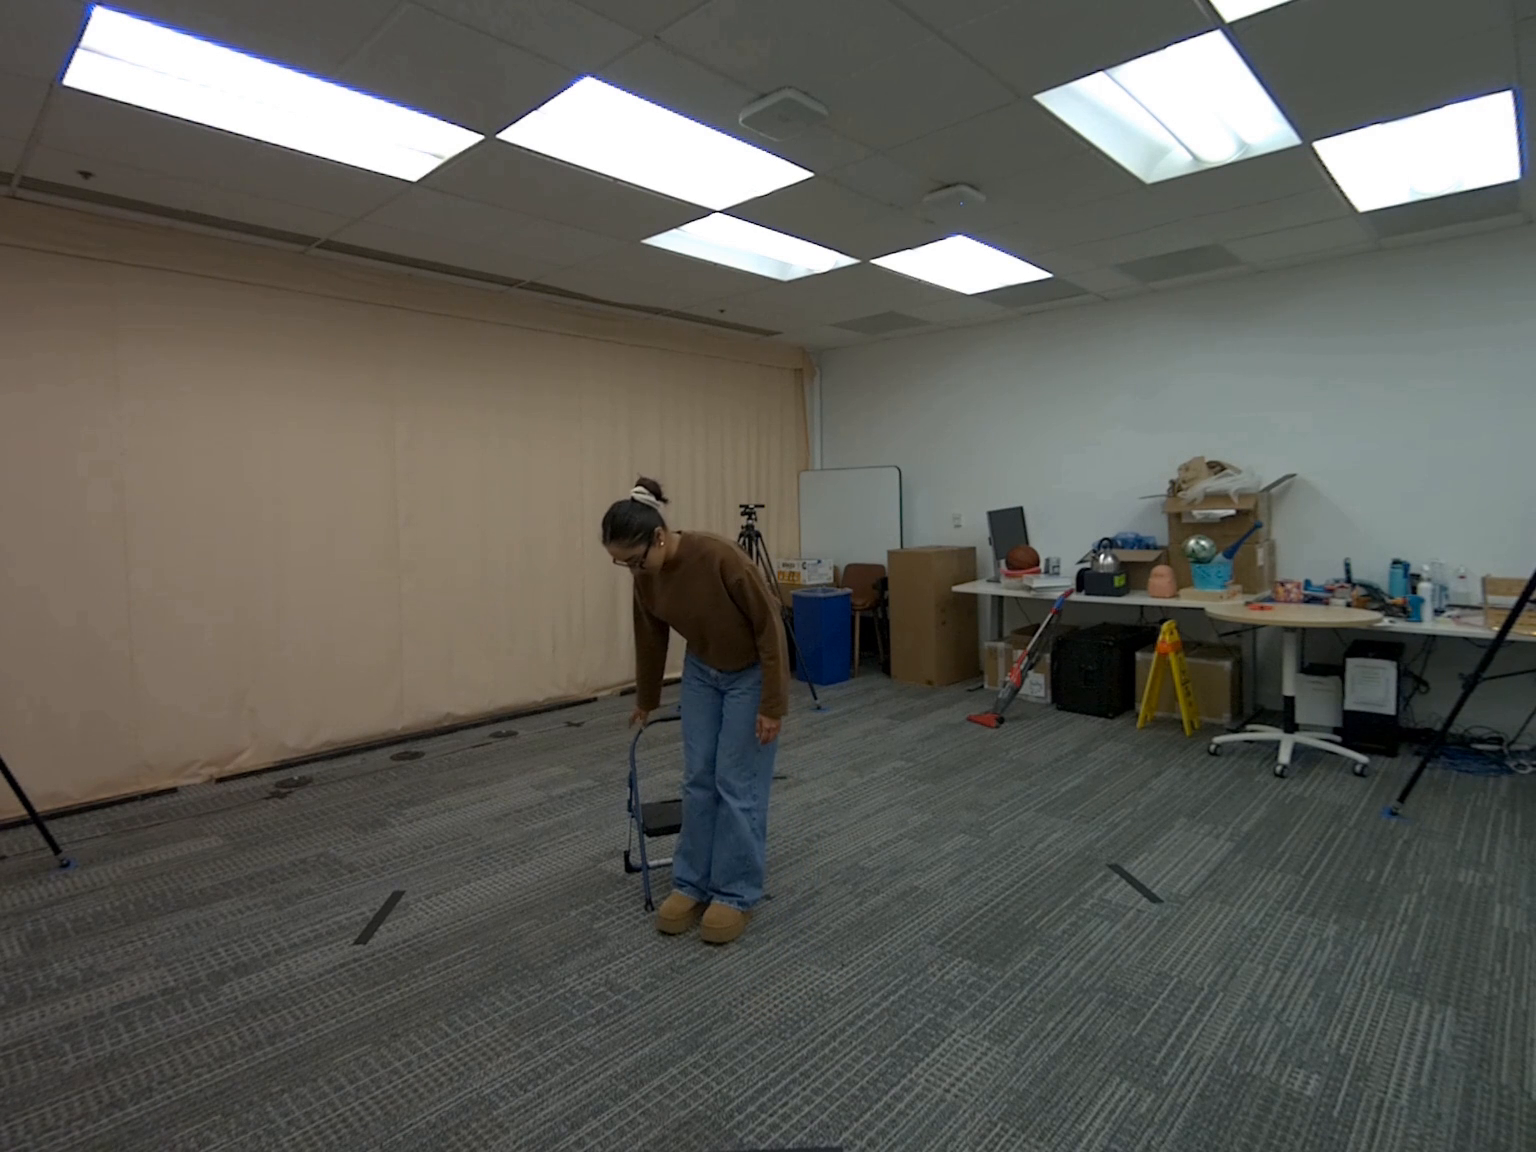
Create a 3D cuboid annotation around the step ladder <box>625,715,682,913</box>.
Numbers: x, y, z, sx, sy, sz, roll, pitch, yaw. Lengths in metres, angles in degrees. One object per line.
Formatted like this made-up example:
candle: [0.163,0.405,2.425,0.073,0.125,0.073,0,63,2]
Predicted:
step ladder: [-0.298,0.833,3.115,0.421,0.604,0.358,-3,4,-22]
